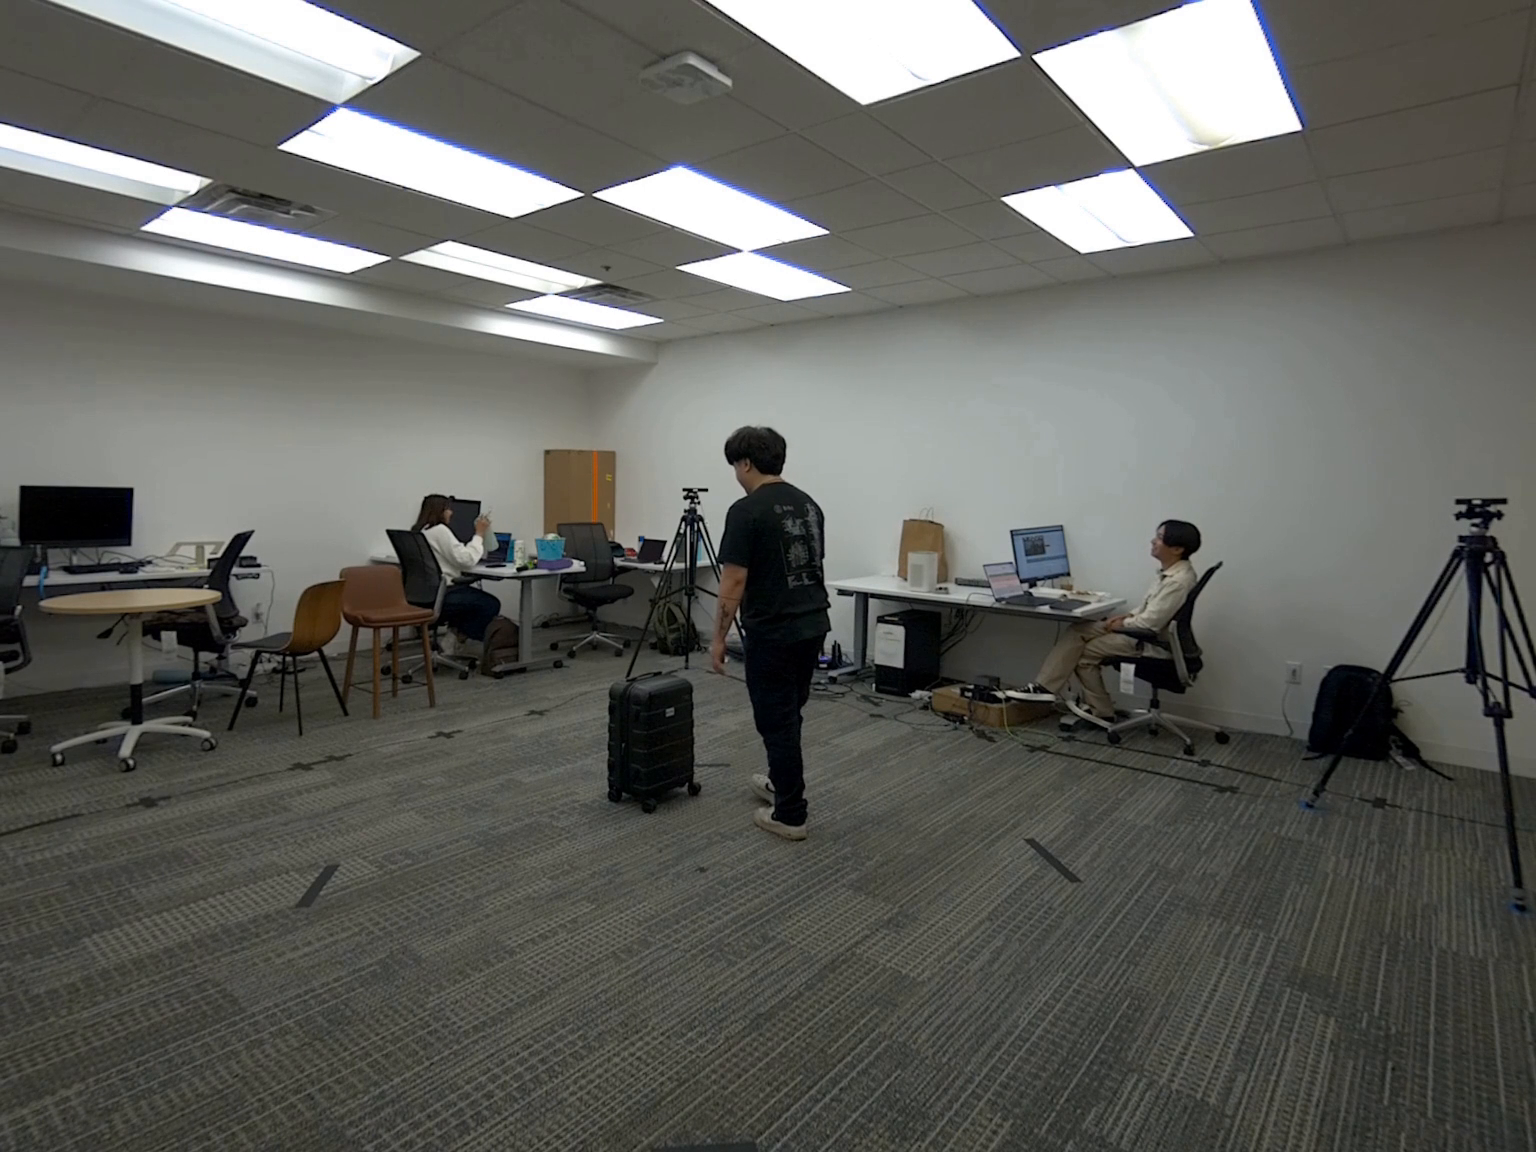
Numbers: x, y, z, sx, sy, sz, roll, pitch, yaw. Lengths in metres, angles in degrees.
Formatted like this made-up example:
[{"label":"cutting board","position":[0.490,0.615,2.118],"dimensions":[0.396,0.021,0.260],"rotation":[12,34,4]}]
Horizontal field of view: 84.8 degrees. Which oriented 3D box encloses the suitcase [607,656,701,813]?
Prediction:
[{"label":"suitcase","position":[-0.532,0.719,3.836],"dimensions":[0.256,0.548,0.364],"rotation":[1,2,39]}]
